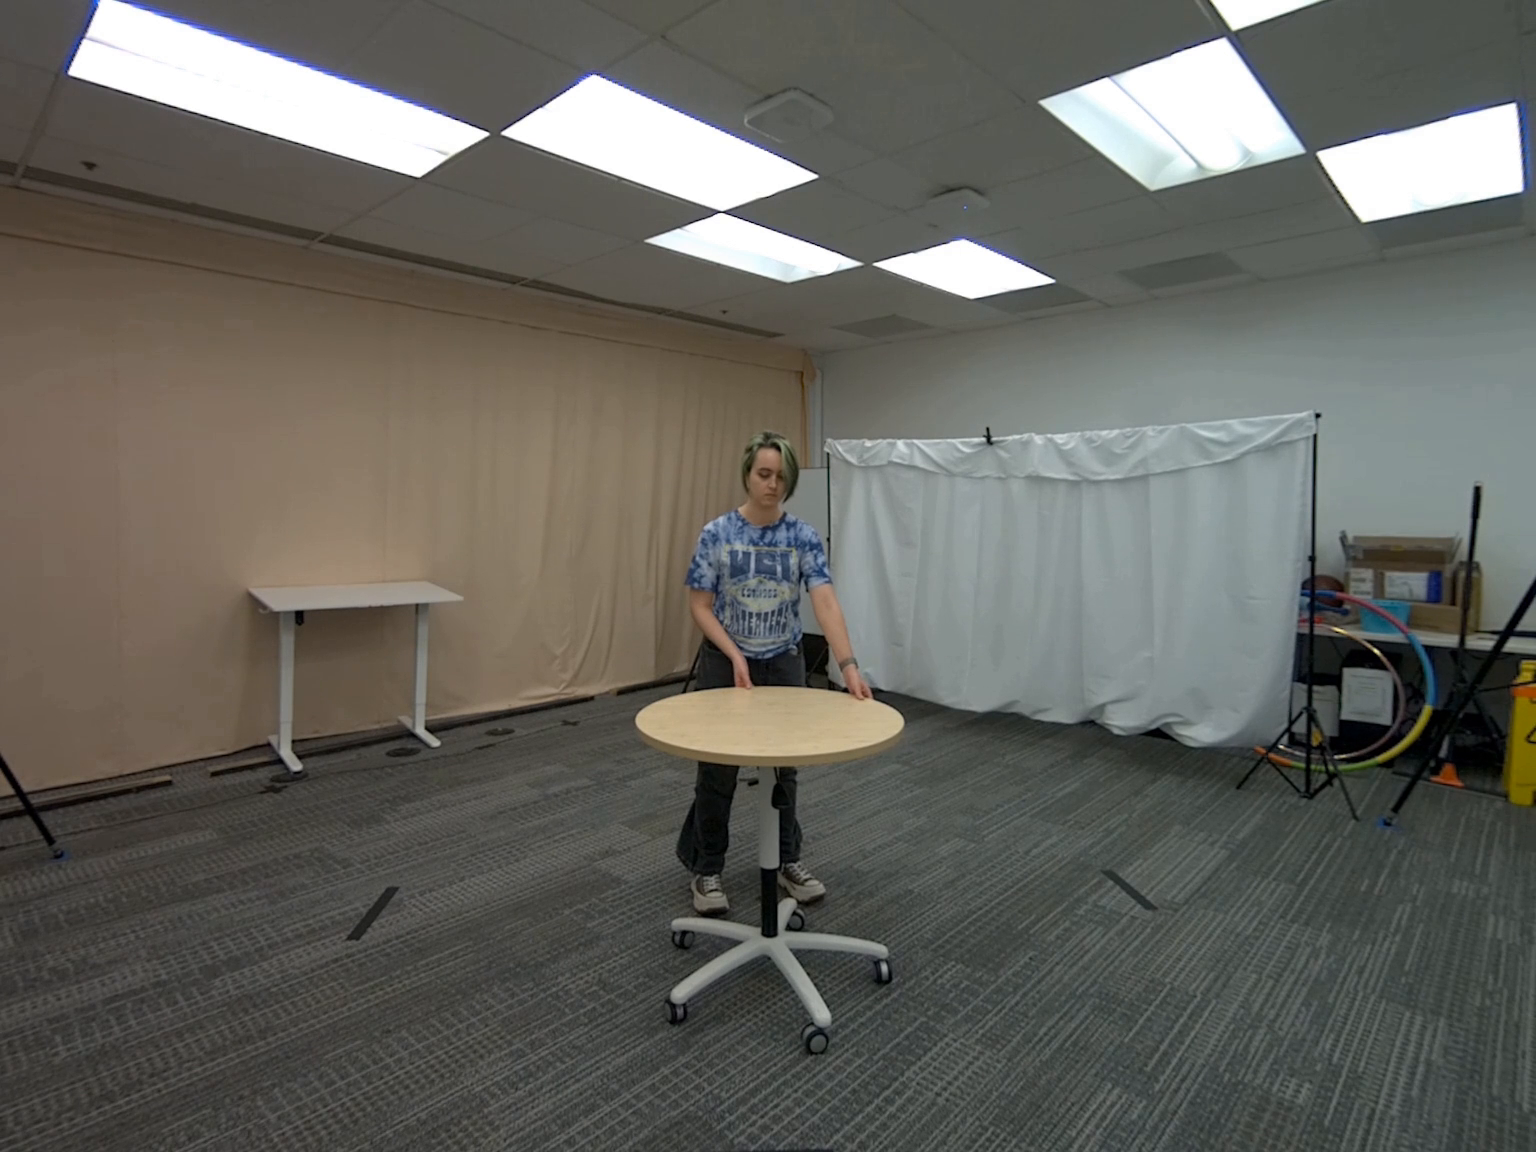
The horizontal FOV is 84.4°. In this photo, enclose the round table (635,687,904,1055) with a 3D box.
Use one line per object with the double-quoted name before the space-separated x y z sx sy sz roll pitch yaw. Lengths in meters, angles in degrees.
"round table" 0.011 0.797 2.447 0.763 0.792 0.767 0 4 -2
